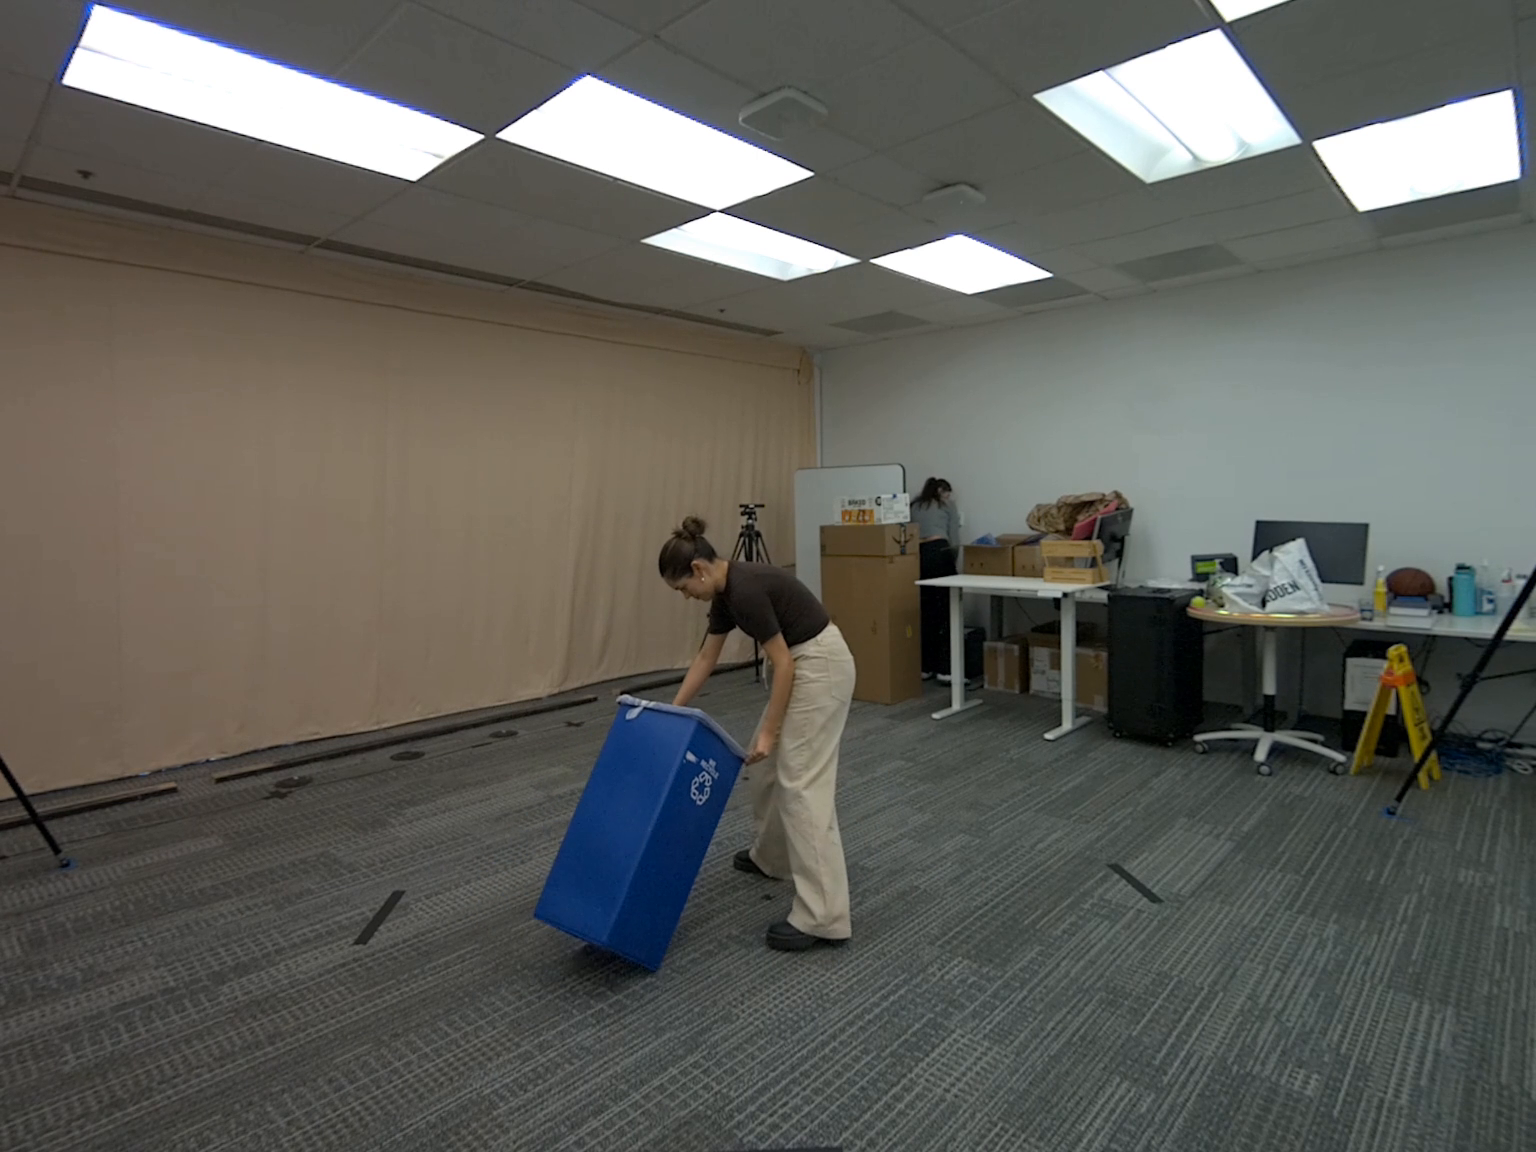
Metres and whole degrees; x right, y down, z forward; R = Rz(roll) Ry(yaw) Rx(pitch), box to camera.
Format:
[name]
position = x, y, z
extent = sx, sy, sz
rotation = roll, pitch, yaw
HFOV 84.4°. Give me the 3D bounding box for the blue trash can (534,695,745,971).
[blue trash can]
position = -0.408, 0.805, 2.678
extent = 0.390, 0.716, 0.361
rotation = 3, -32, 35
